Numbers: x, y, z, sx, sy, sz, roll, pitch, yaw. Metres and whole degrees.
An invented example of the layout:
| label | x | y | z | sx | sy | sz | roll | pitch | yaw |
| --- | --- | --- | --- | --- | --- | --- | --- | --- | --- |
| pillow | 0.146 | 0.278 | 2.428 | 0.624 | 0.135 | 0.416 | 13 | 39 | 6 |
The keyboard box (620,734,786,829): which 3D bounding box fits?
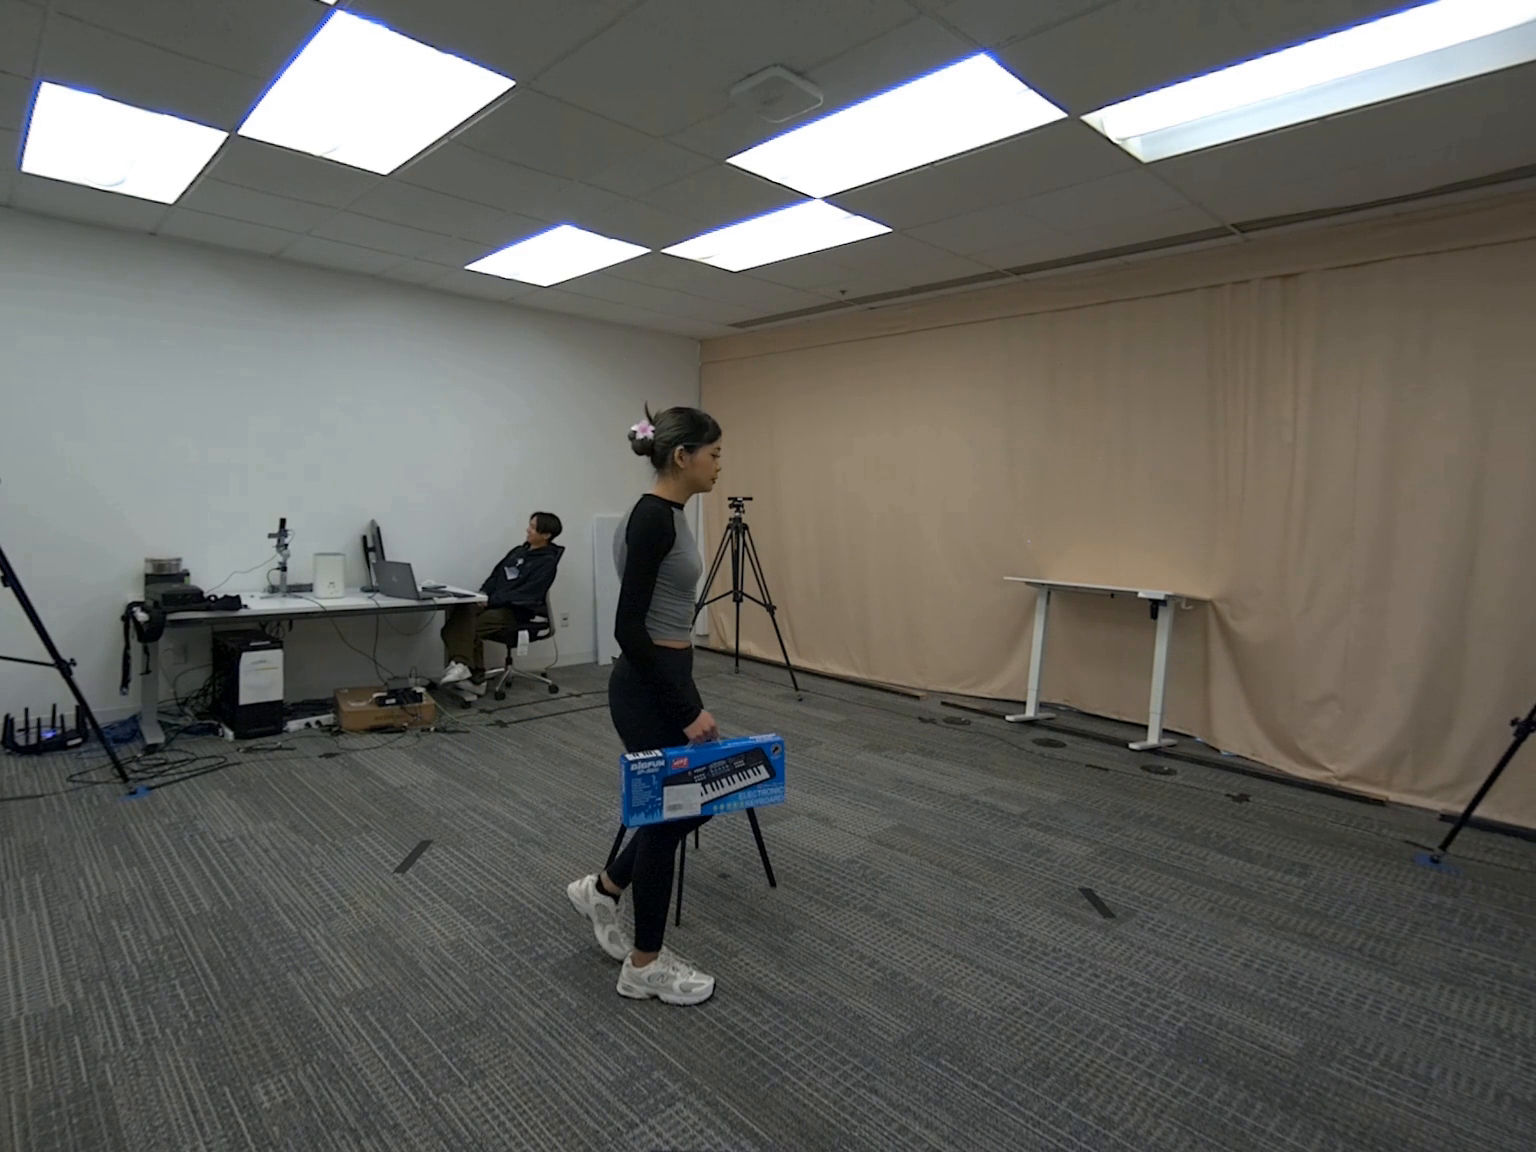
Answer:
| label | x | y | z | sx | sy | sz | roll | pitch | yaw |
| --- | --- | --- | --- | --- | --- | --- | --- | --- | --- |
| keyboard box | -0.178 | 0.531 | 2.189 | 0.431 | 0.175 | 0.060 | -2 | 3 | -19 |
